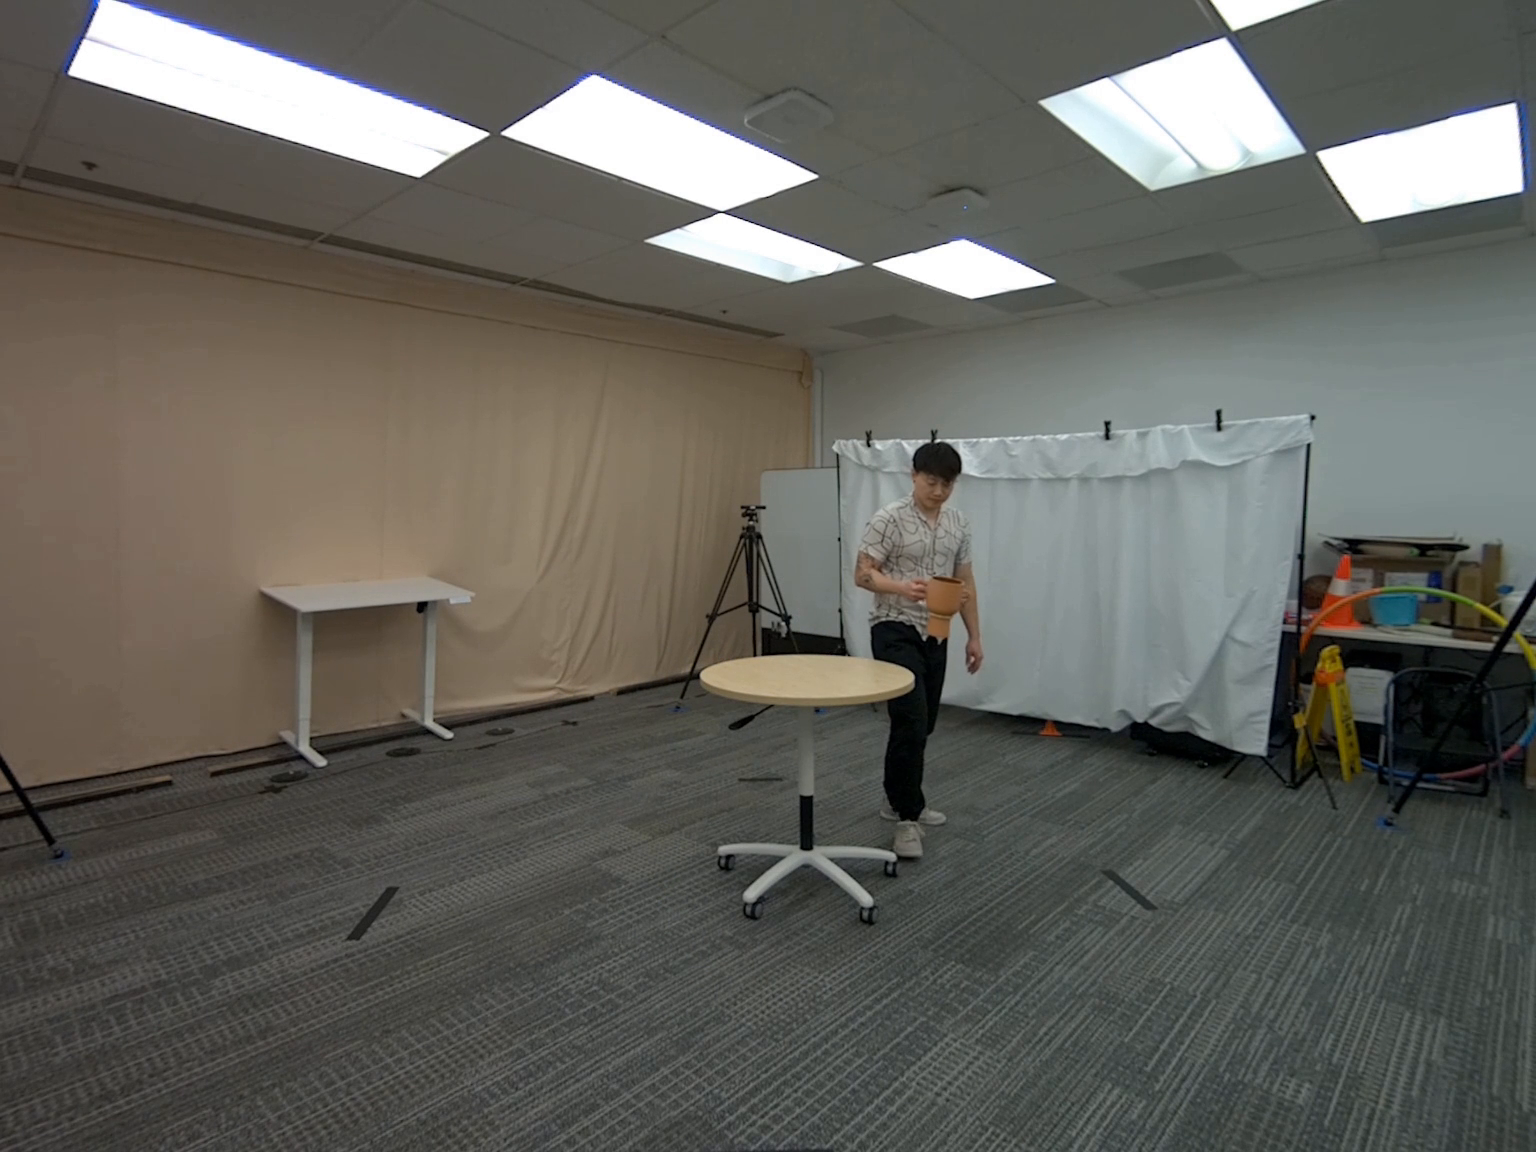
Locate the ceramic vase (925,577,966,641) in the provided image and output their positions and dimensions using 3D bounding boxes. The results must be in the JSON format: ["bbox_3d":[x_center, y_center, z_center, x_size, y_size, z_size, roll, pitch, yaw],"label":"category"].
[{"bbox_3d":[0.684,0.121,3.286,0.130,0.219,0.164,1,13,-38],"label":"ceramic vase"}]
